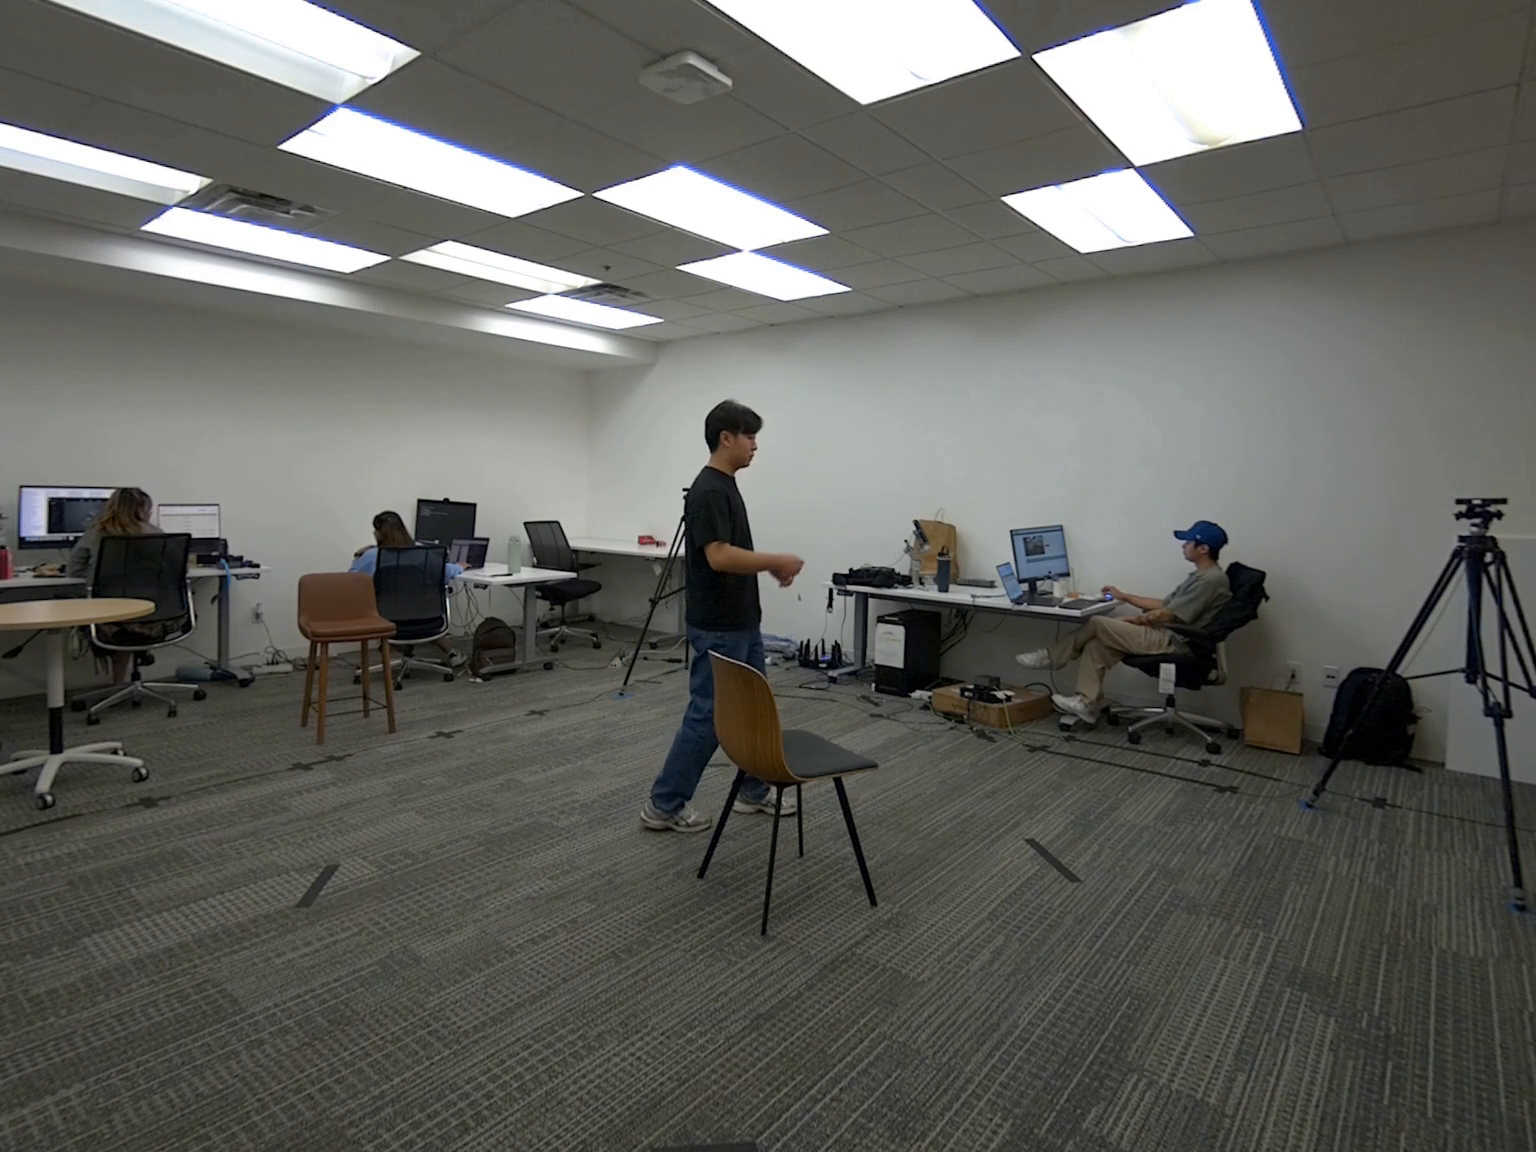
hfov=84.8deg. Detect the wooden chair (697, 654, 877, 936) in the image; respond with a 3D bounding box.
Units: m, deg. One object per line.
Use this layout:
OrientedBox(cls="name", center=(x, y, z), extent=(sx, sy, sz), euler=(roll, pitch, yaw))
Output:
OrientedBox(cls="wooden chair", center=(0.069, 0.661, 2.930), extent=(0.510, 0.873, 0.493), euler=(-5, 6, -31))
